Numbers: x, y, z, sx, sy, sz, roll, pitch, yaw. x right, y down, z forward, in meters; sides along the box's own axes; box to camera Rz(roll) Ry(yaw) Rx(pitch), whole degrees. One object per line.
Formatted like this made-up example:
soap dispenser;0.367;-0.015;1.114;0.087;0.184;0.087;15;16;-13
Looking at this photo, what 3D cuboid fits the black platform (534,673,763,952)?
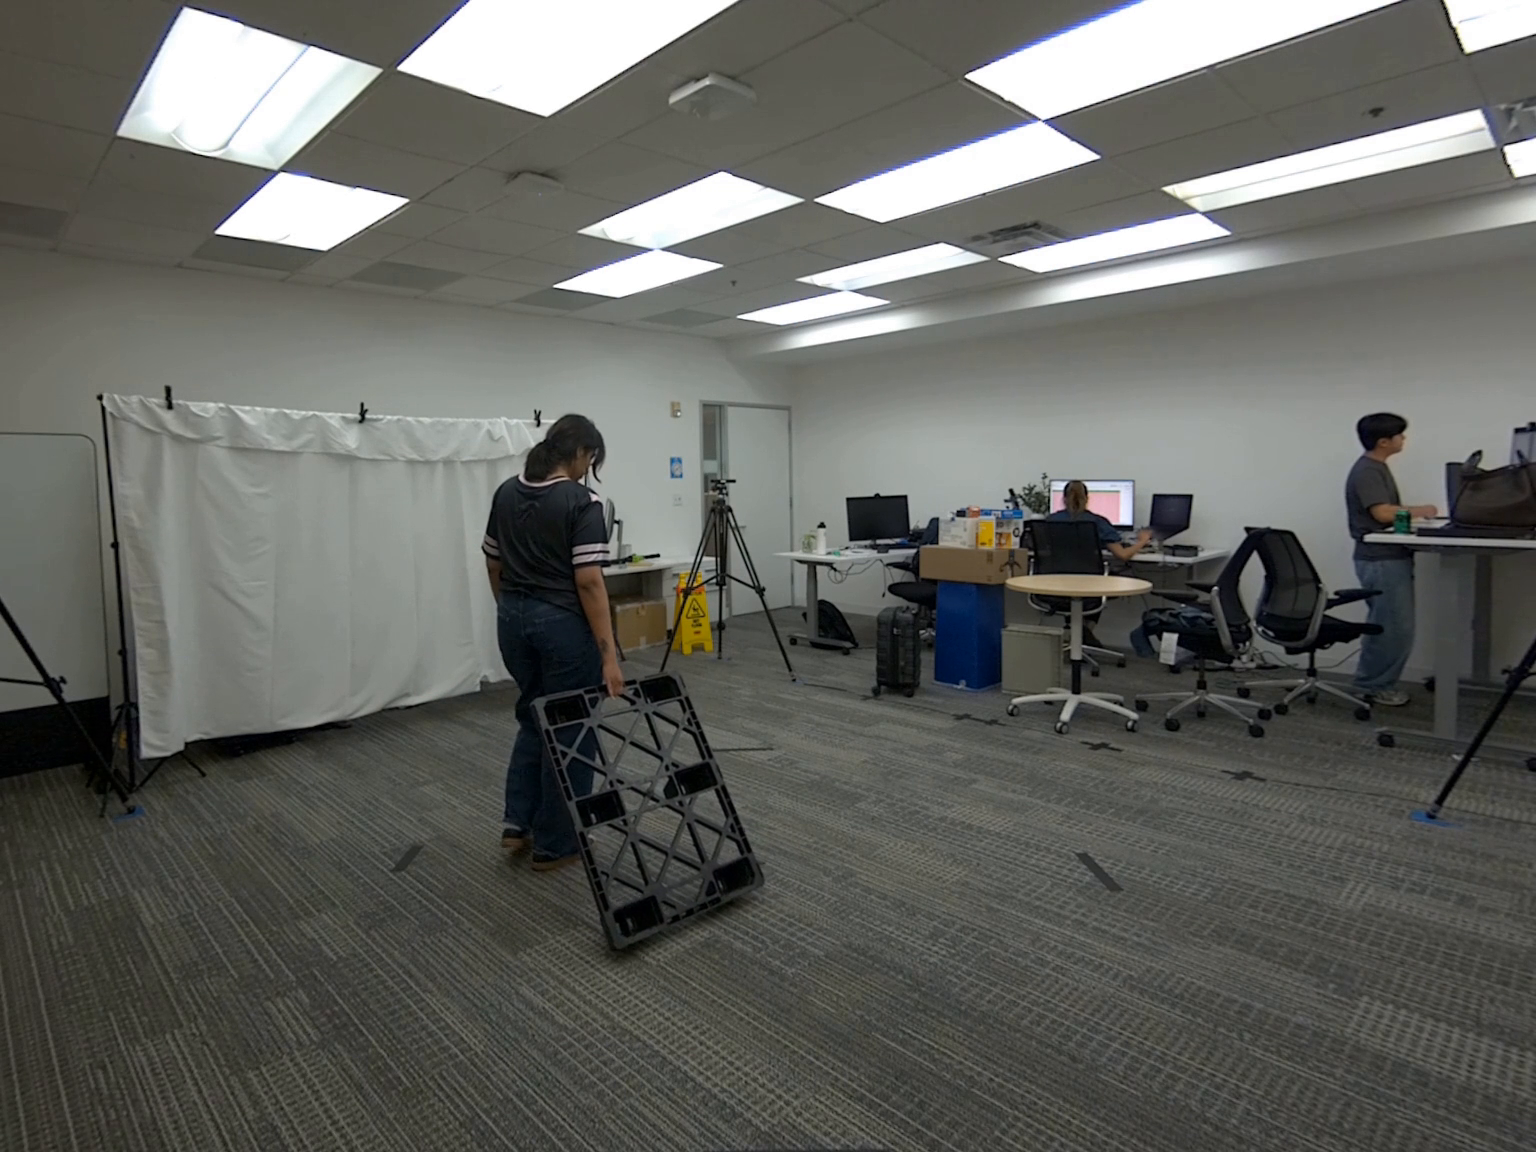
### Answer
black platform;-0.417;0.746;2.848;0.589;0.826;0.143;-6;-29;-40
